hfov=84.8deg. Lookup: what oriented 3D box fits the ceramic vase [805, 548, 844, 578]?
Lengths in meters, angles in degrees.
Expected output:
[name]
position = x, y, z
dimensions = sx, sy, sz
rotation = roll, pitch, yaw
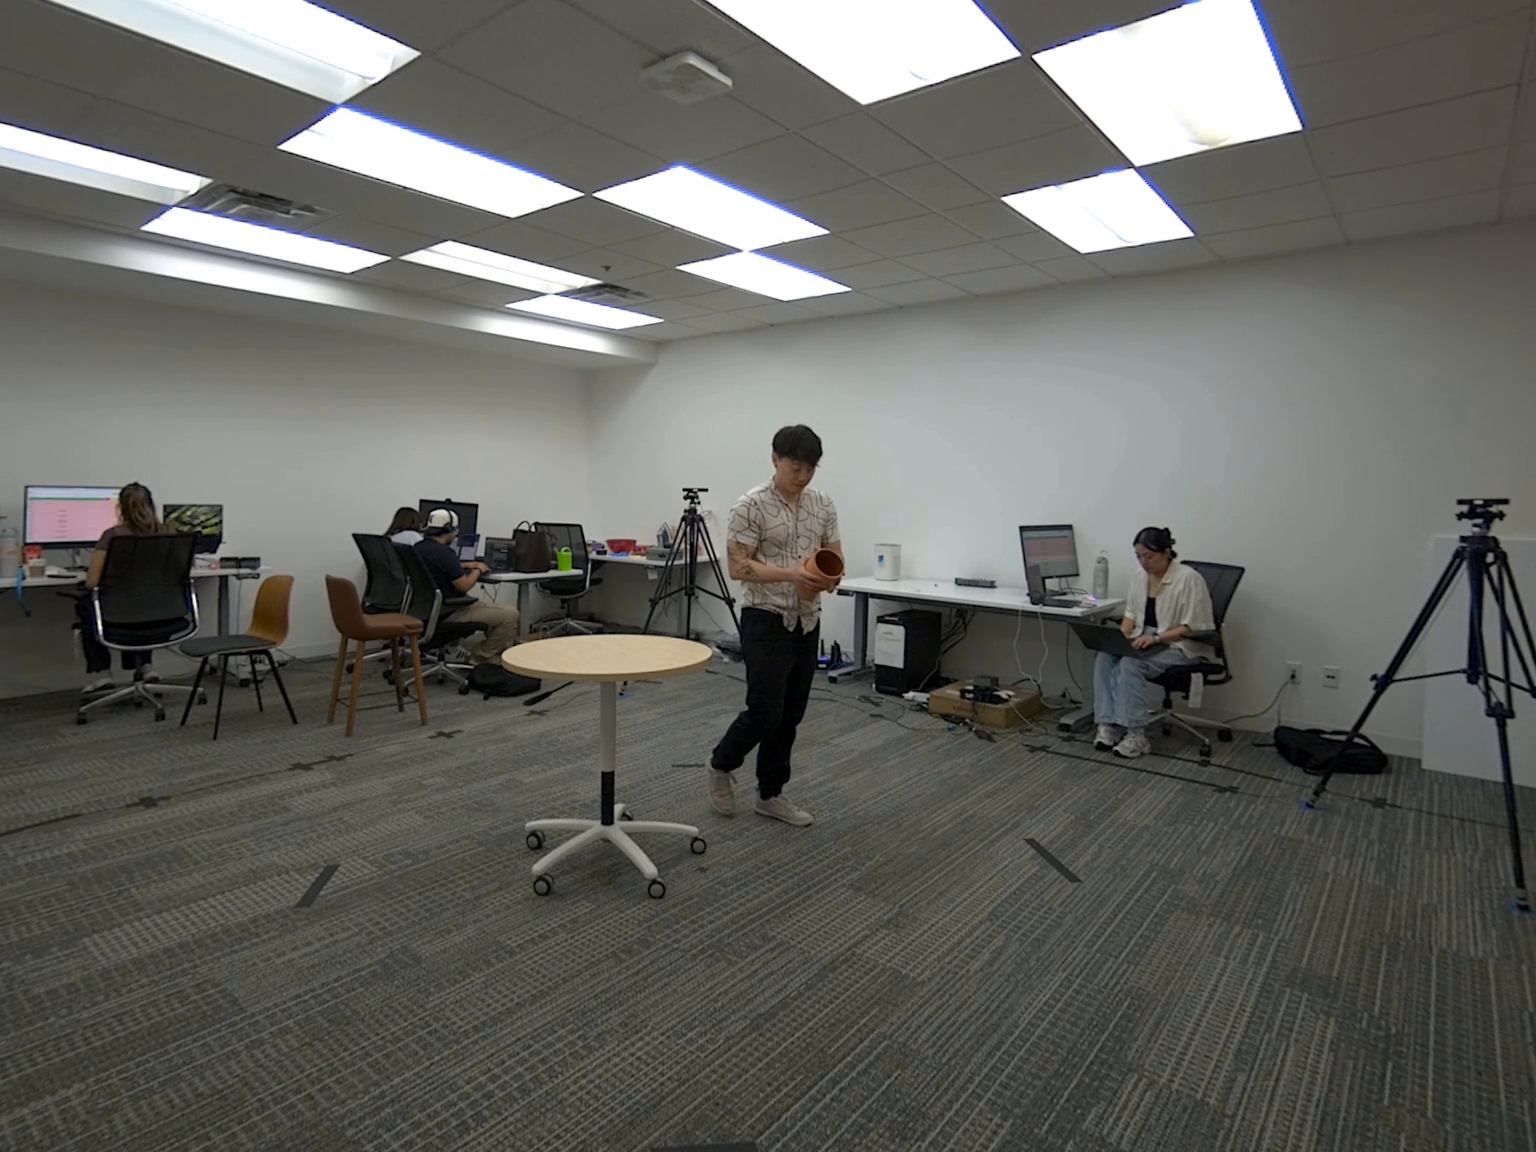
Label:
[ceramic vase]
position = 0.188, -0.001, 3.325
dimensions = 0.134, 0.160, 0.219
rotation = 31, -39, -6
